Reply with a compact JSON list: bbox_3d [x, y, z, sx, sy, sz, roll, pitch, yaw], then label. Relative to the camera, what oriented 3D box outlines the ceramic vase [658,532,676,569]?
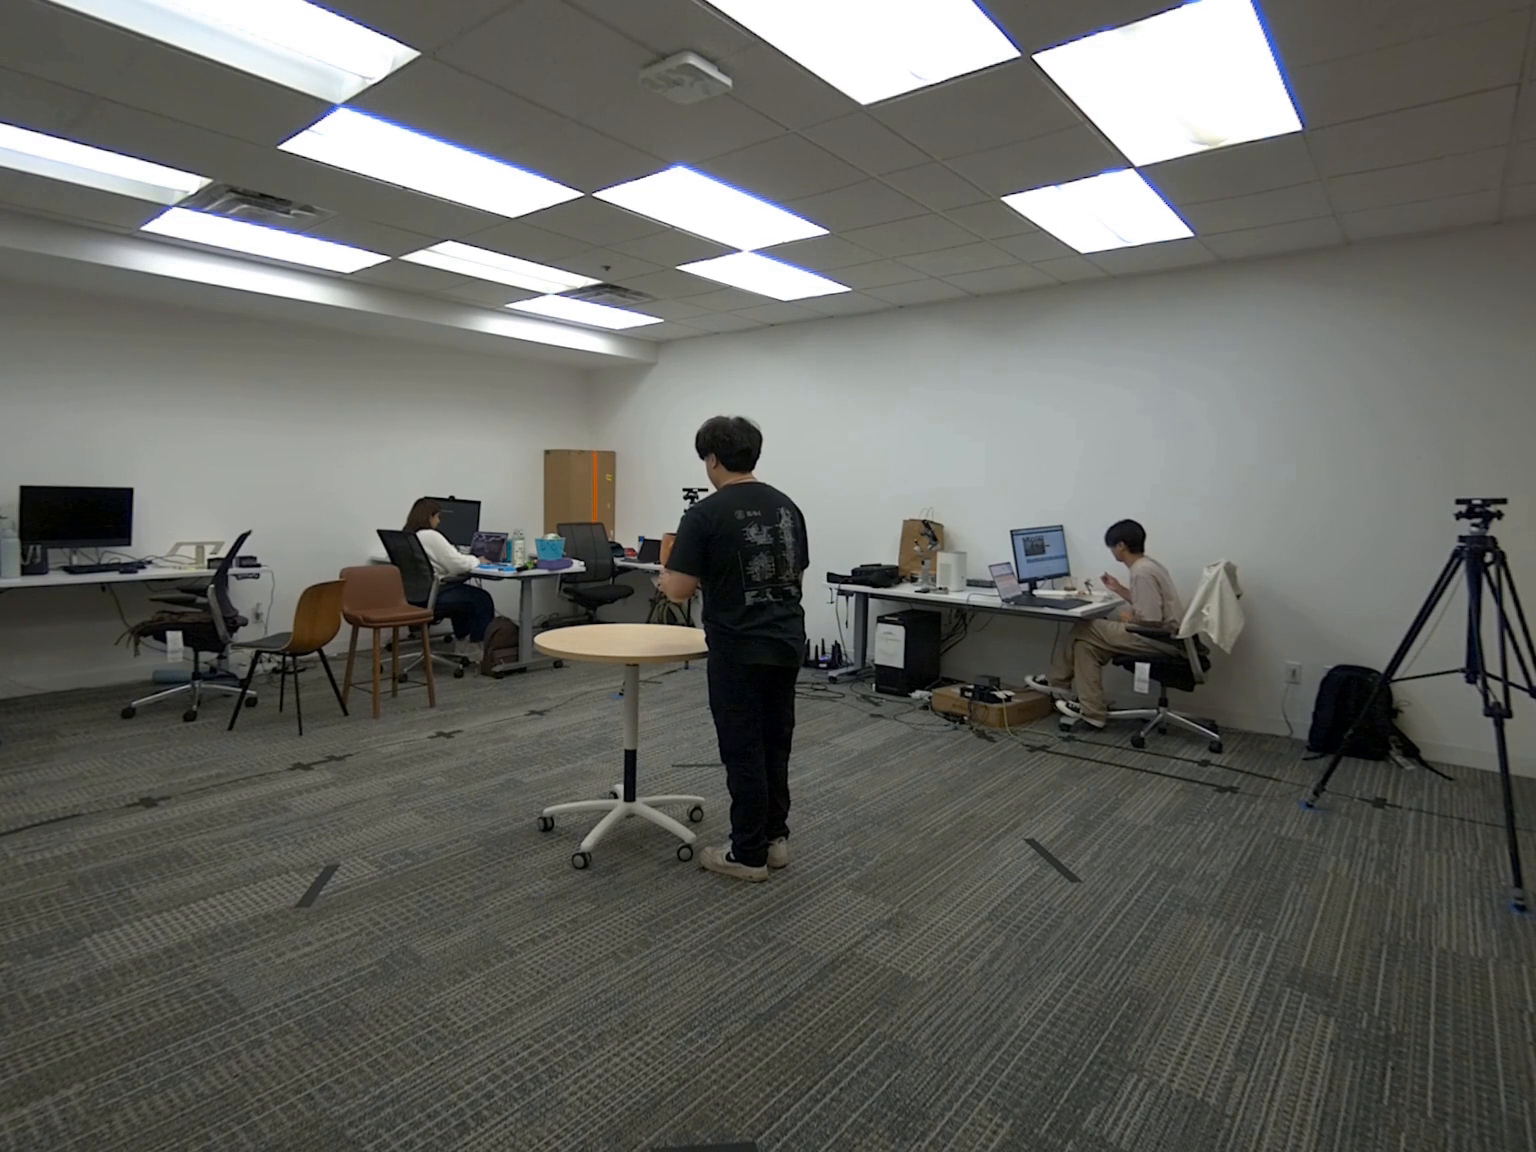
[{"bbox_3d":[-0.360,-0.053,3.301,0.154,0.219,0.139,2,6,-38],"label":"ceramic vase"}]
